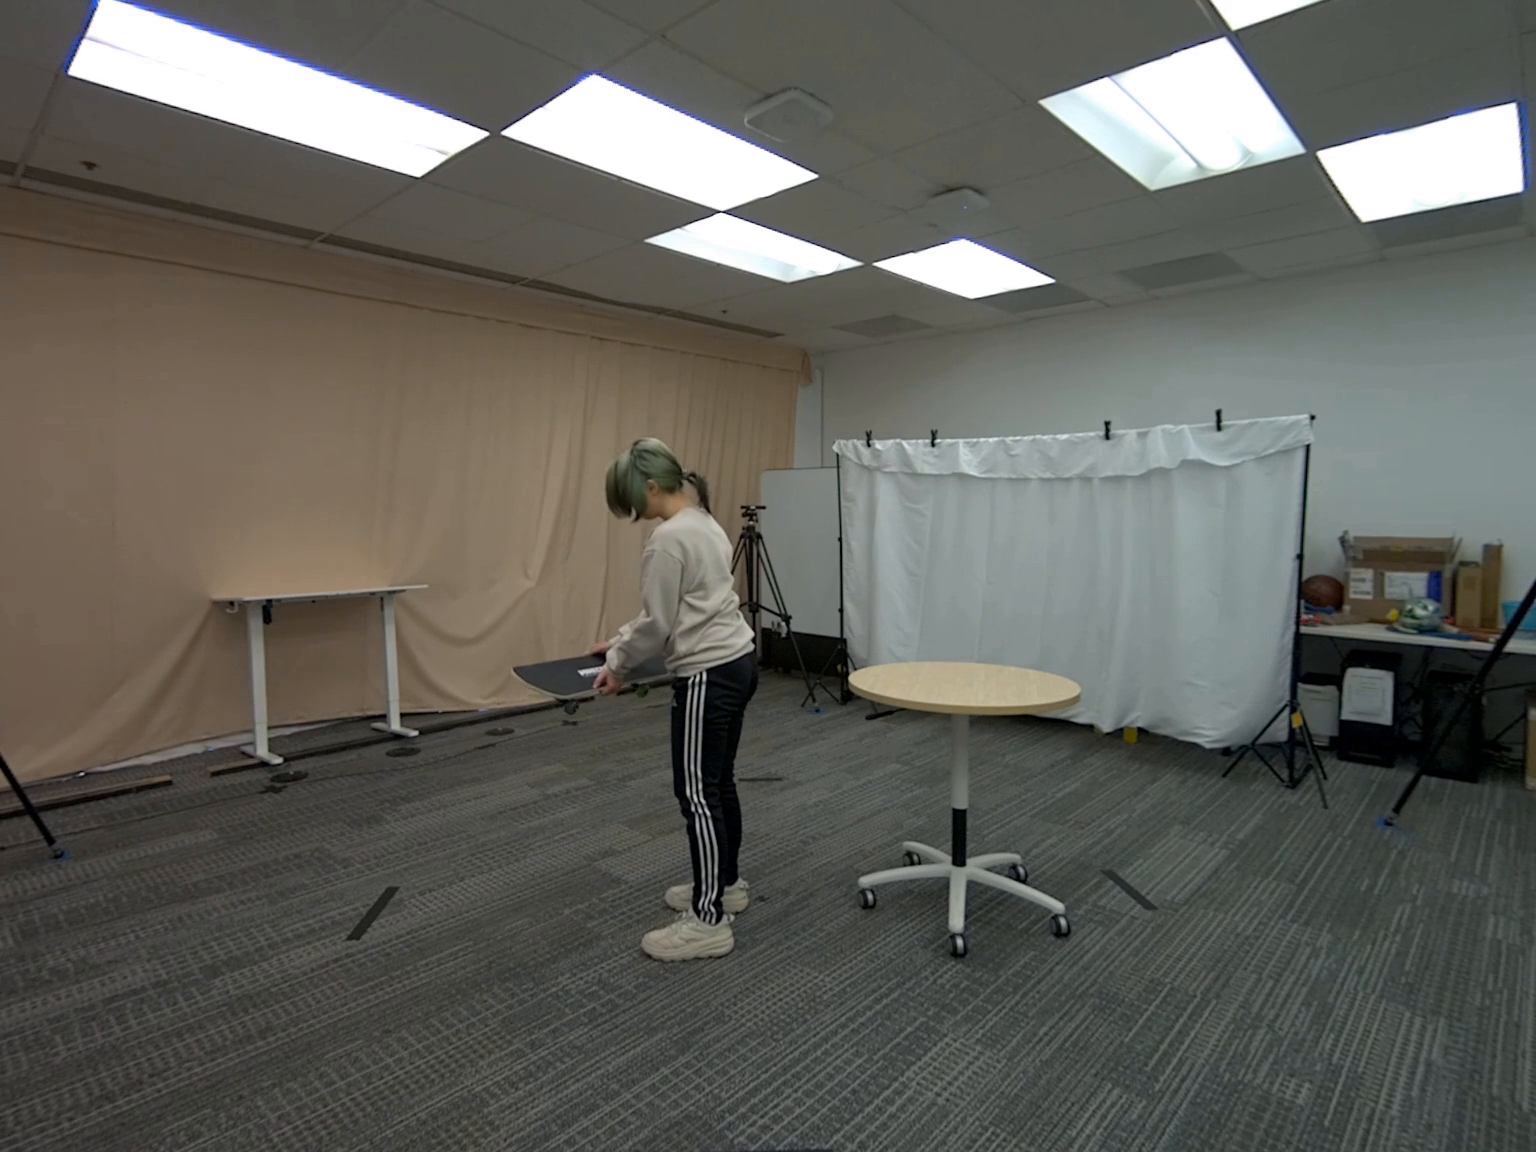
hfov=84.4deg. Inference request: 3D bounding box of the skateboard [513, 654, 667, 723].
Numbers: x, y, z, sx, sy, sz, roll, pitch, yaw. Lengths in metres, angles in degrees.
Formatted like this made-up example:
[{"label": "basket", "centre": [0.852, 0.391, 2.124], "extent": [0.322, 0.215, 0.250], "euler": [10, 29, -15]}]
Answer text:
[{"label": "skateboard", "centre": [-0.587, 0.357, 2.836], "extent": [0.199, 0.110, 0.764], "euler": [30, 15, 25]}]
